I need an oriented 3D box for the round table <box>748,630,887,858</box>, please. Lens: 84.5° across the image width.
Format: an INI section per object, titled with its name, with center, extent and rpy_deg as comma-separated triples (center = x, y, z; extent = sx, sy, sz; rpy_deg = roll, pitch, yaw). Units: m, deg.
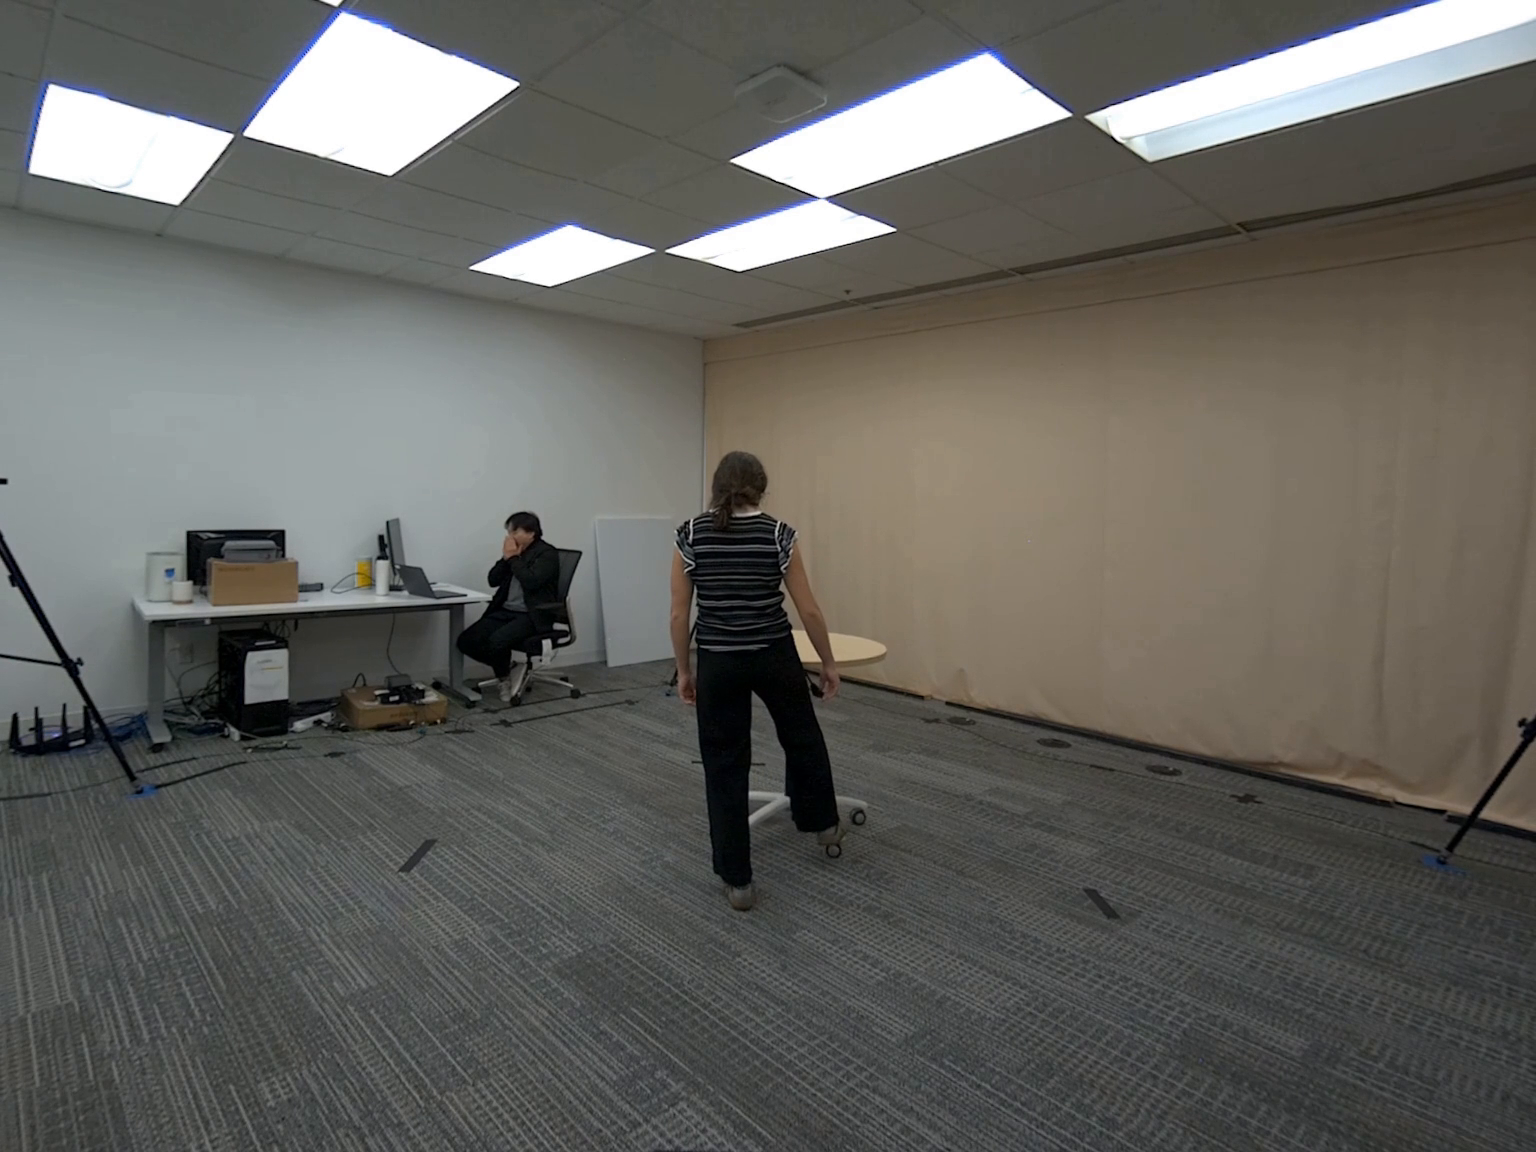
[round table]
center = 0.099, 0.680, 3.577
extent = 0.784, 0.784, 0.788
rpy_deg = 1, 4, -1
